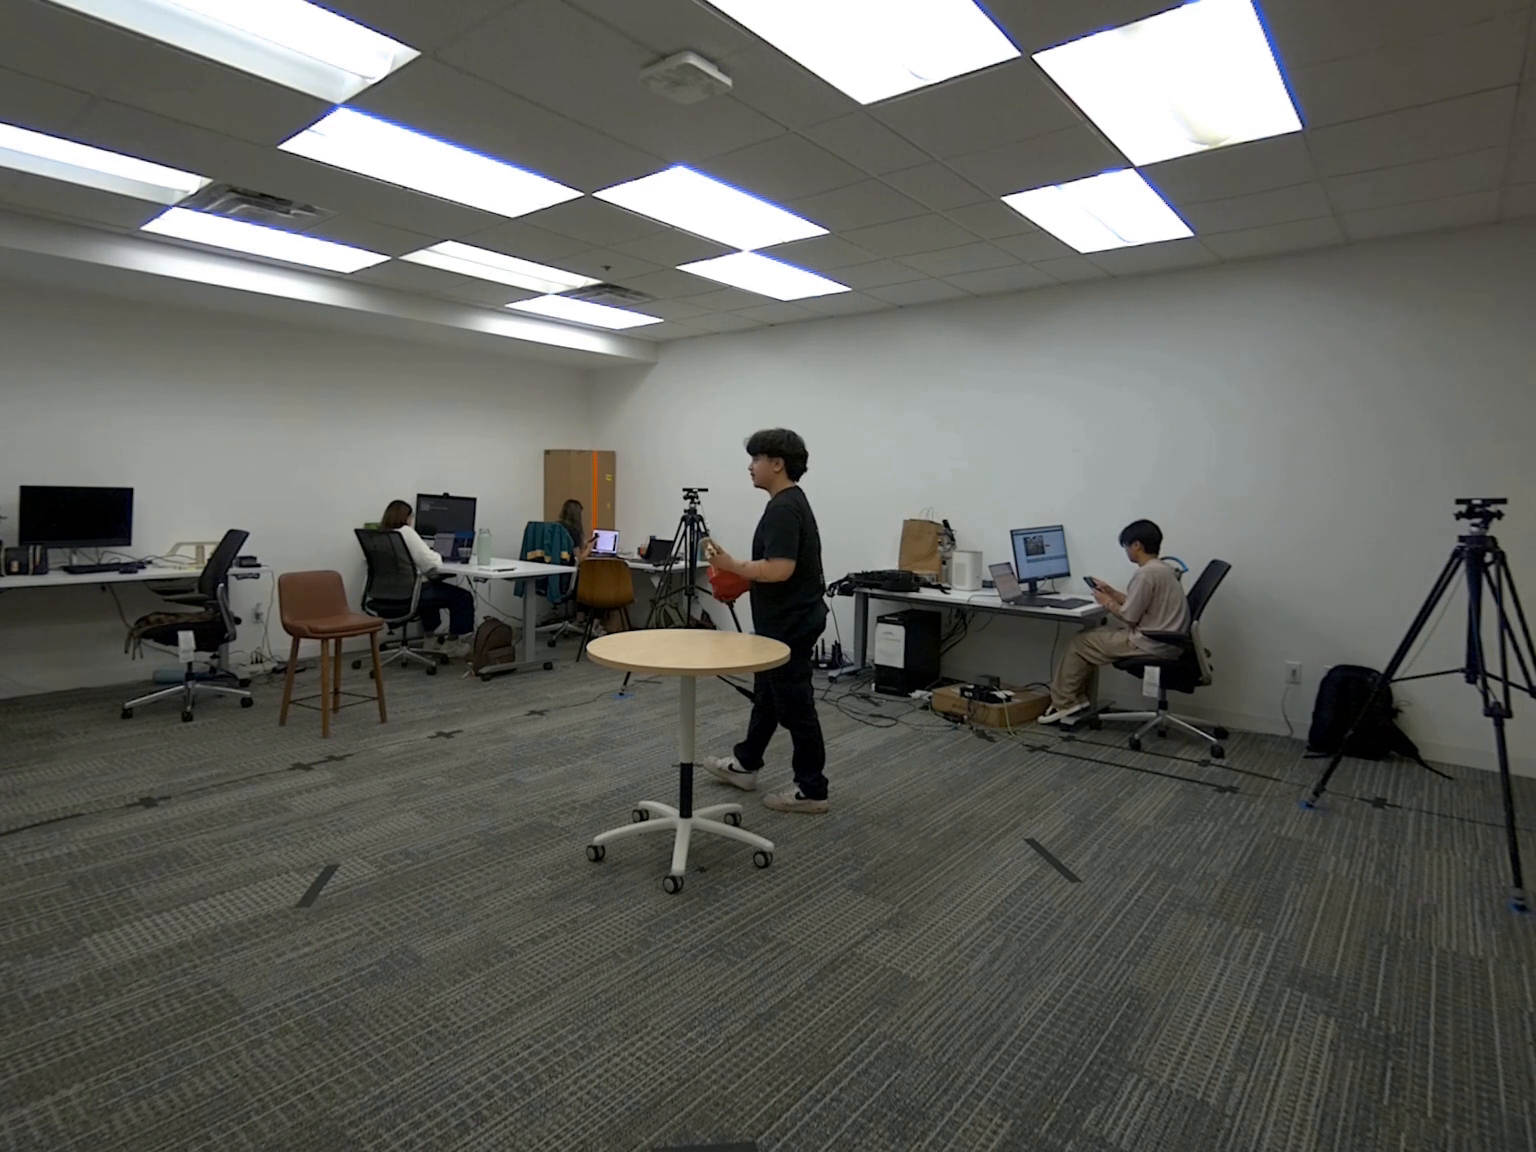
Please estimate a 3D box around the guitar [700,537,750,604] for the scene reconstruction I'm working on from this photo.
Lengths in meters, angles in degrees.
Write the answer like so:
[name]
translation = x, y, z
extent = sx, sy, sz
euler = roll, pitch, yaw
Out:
[guitar]
translation = -0.246, -0.029, 3.742
extent = 0.195, 0.073, 0.478
euler = -21, -29, 16
